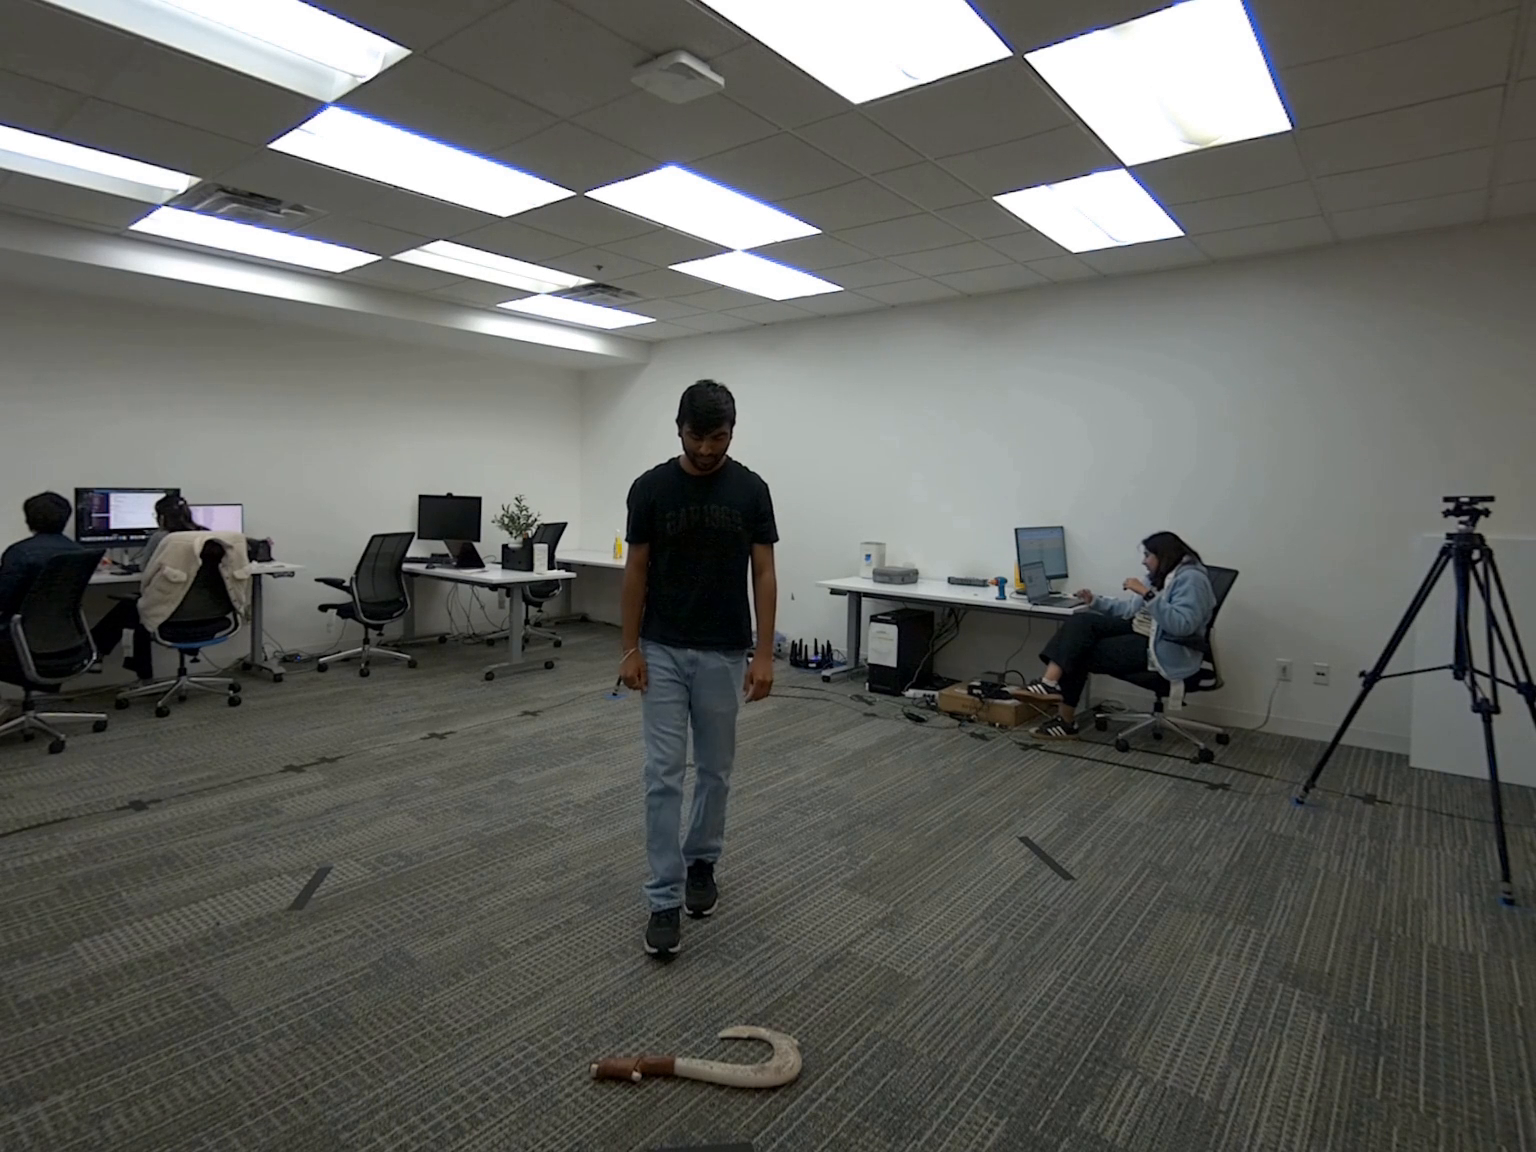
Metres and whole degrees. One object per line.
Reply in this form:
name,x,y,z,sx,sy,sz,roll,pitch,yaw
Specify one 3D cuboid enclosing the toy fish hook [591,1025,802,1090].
toy fish hook,-0.178,1.157,2.065,0.505,0.048,0.225,1,-1,-4
